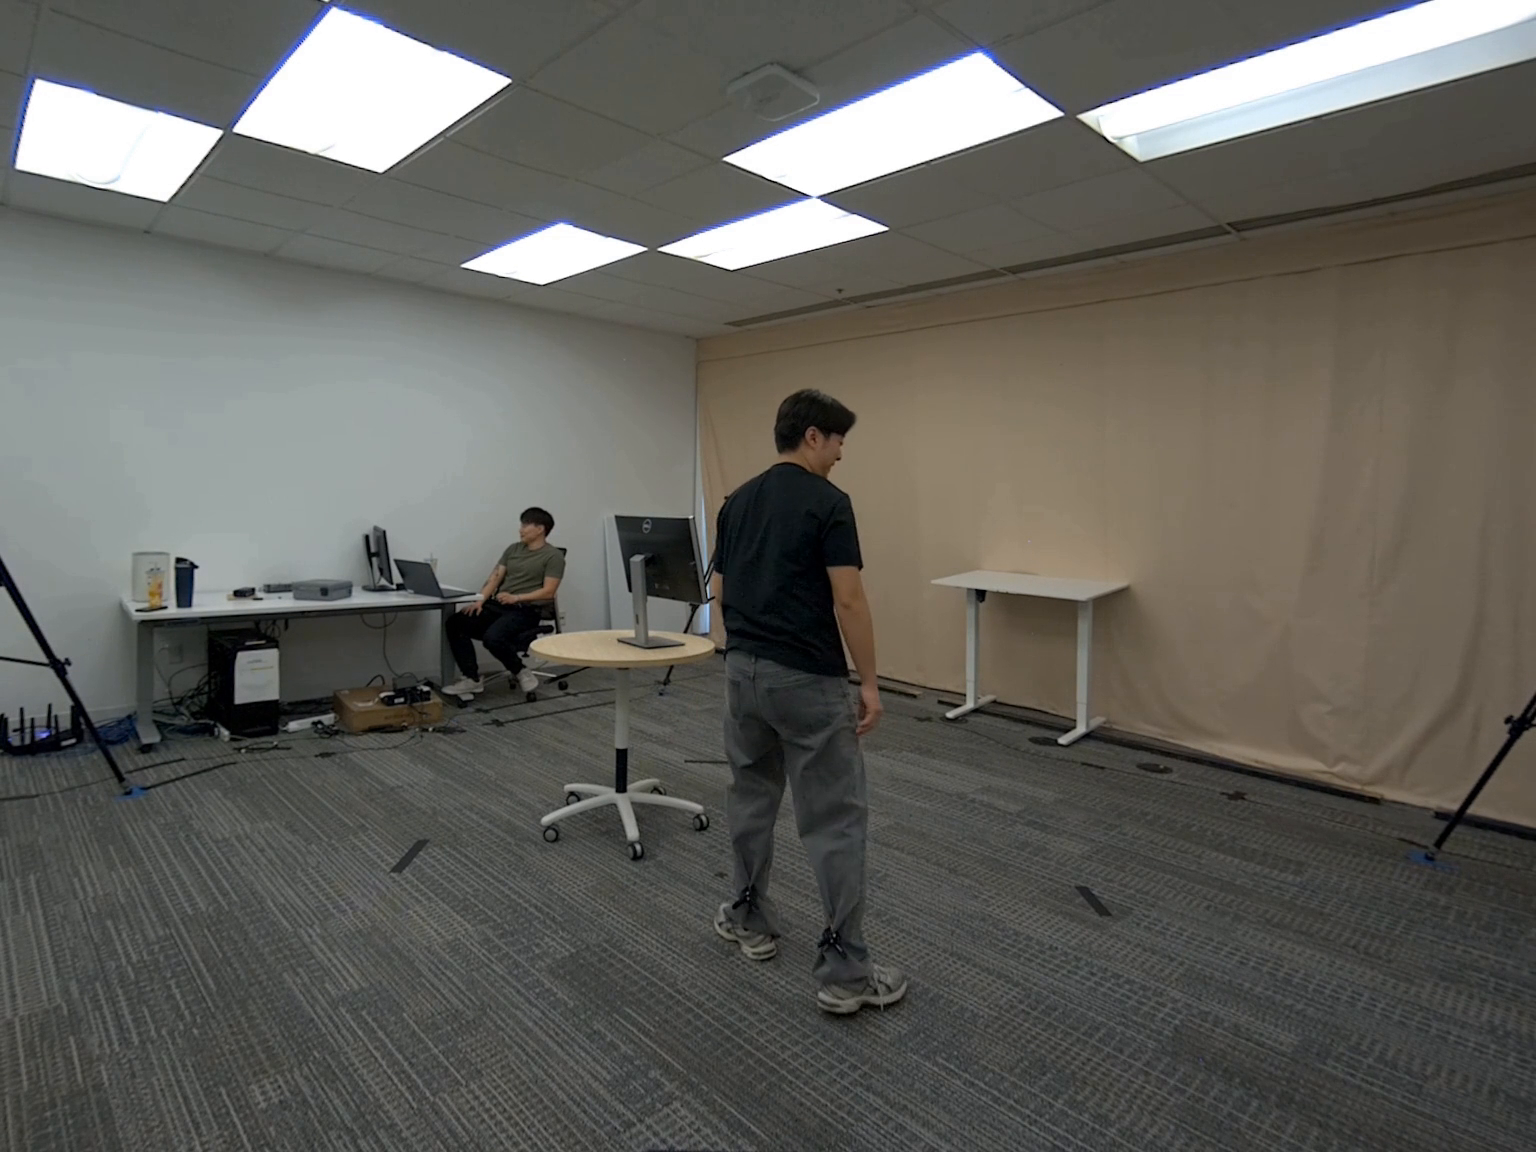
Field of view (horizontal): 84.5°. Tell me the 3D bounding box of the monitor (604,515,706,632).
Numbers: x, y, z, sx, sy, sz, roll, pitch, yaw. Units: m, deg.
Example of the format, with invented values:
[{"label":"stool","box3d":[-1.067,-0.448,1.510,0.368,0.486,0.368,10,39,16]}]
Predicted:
[{"label":"monitor","box3d":[-0.513,0.019,3.523,0.206,0.551,0.580,-9,10,-41]}]
